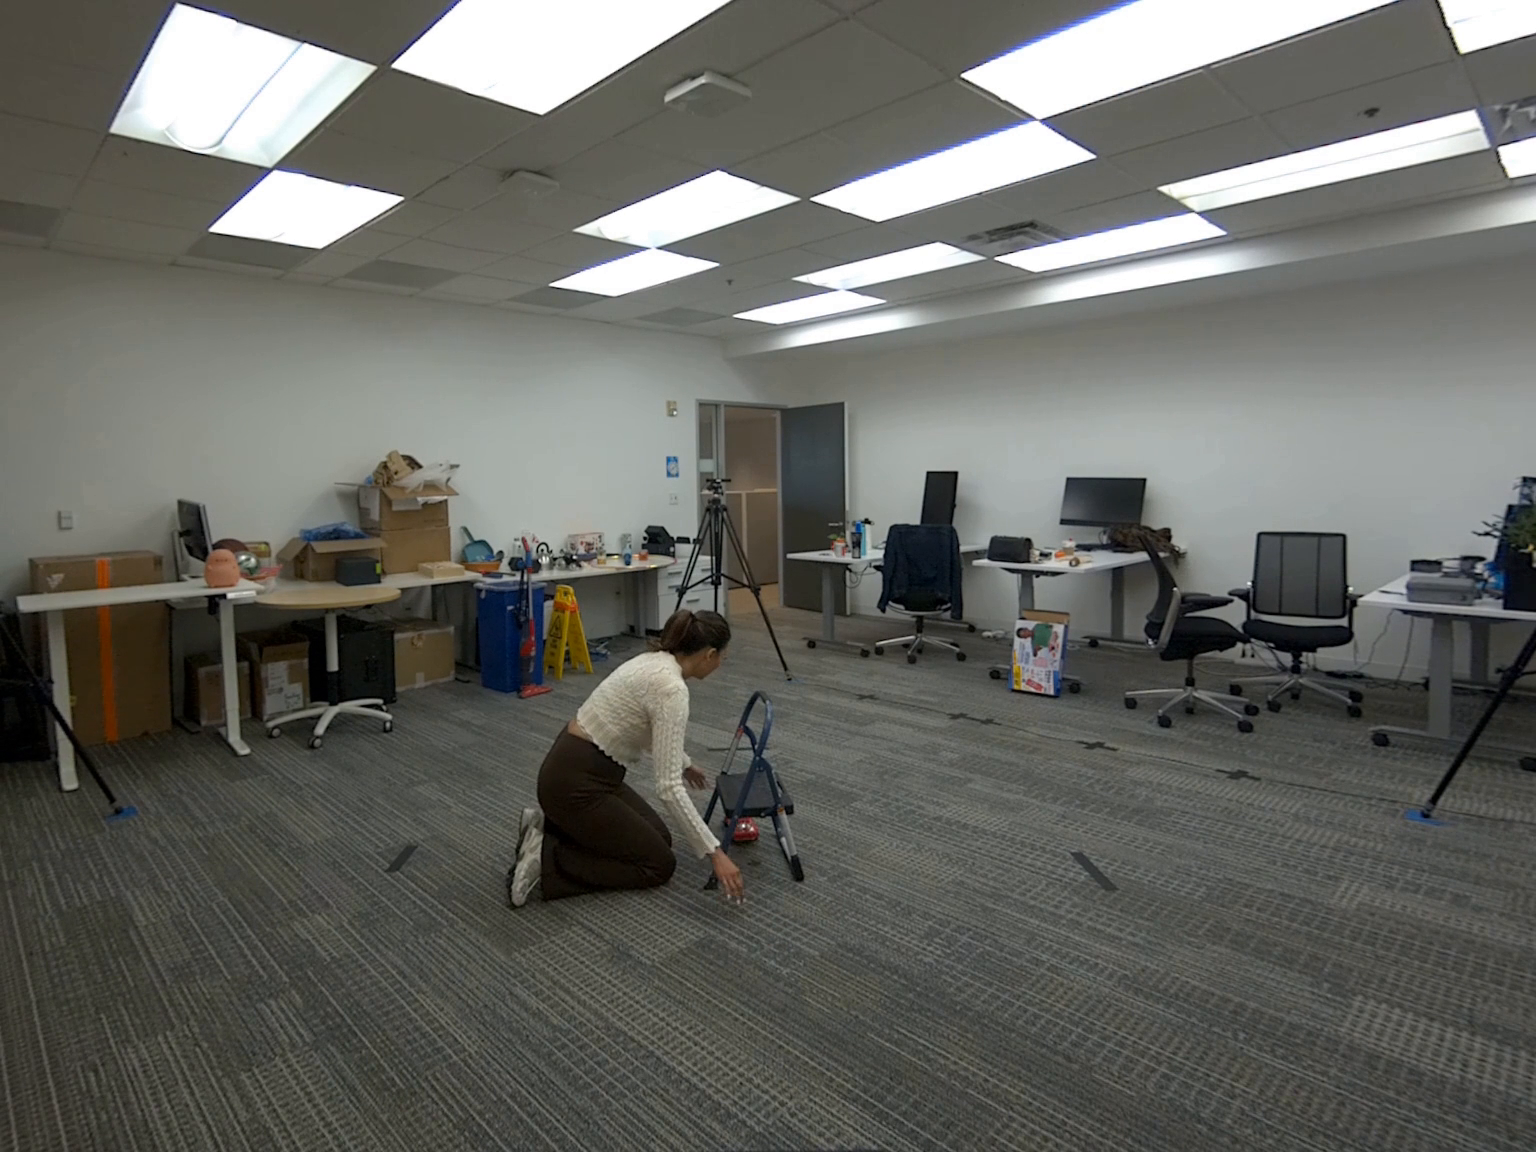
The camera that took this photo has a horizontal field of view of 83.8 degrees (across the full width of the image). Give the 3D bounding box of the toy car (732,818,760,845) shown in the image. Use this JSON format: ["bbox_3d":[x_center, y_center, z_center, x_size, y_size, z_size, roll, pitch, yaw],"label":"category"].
[{"bbox_3d":[-0.095,0.991,3.334,0.129,0.084,0.254,-1,-6,-6],"label":"toy car"}]
